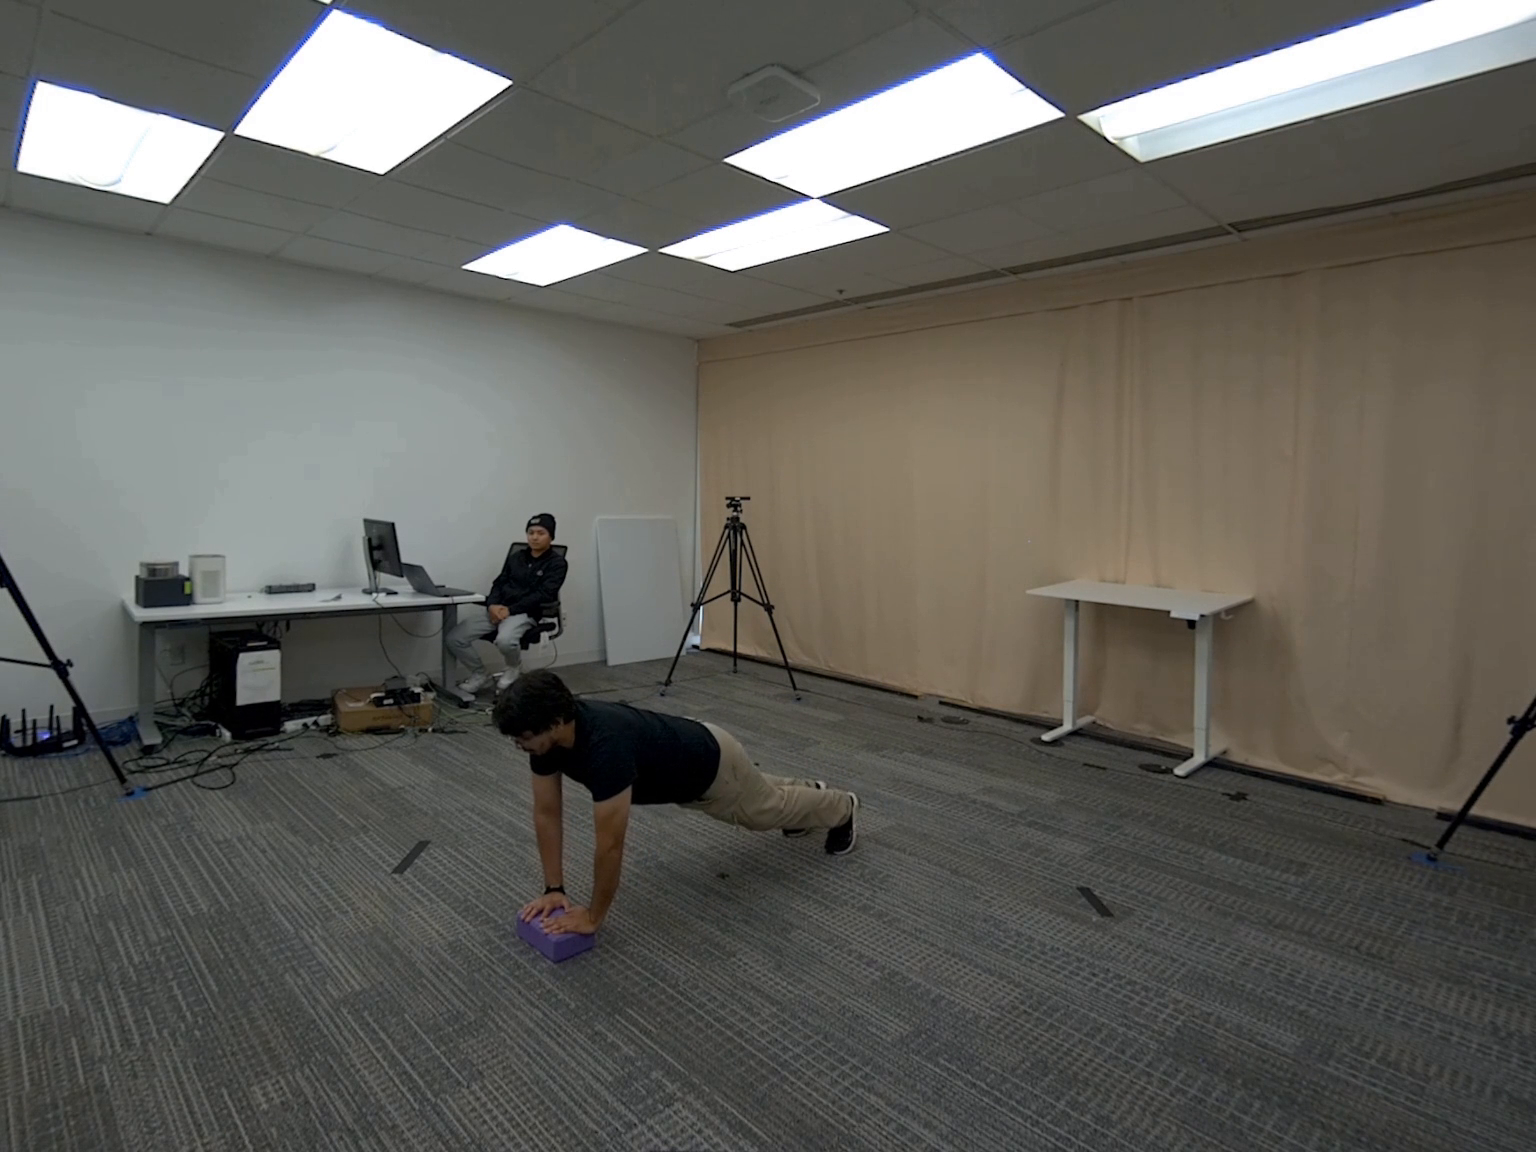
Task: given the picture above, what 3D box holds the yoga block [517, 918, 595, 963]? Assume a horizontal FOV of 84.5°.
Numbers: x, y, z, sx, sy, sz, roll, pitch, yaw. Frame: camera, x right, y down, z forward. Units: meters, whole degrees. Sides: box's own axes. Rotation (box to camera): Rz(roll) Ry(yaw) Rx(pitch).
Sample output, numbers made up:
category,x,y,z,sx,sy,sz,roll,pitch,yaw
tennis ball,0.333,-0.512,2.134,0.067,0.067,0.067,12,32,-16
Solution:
category,x,y,z,sx,sy,sz,roll,pitch,yaw
yoga block,-0.668,1.106,2.619,0.235,0.076,0.146,8,10,44
